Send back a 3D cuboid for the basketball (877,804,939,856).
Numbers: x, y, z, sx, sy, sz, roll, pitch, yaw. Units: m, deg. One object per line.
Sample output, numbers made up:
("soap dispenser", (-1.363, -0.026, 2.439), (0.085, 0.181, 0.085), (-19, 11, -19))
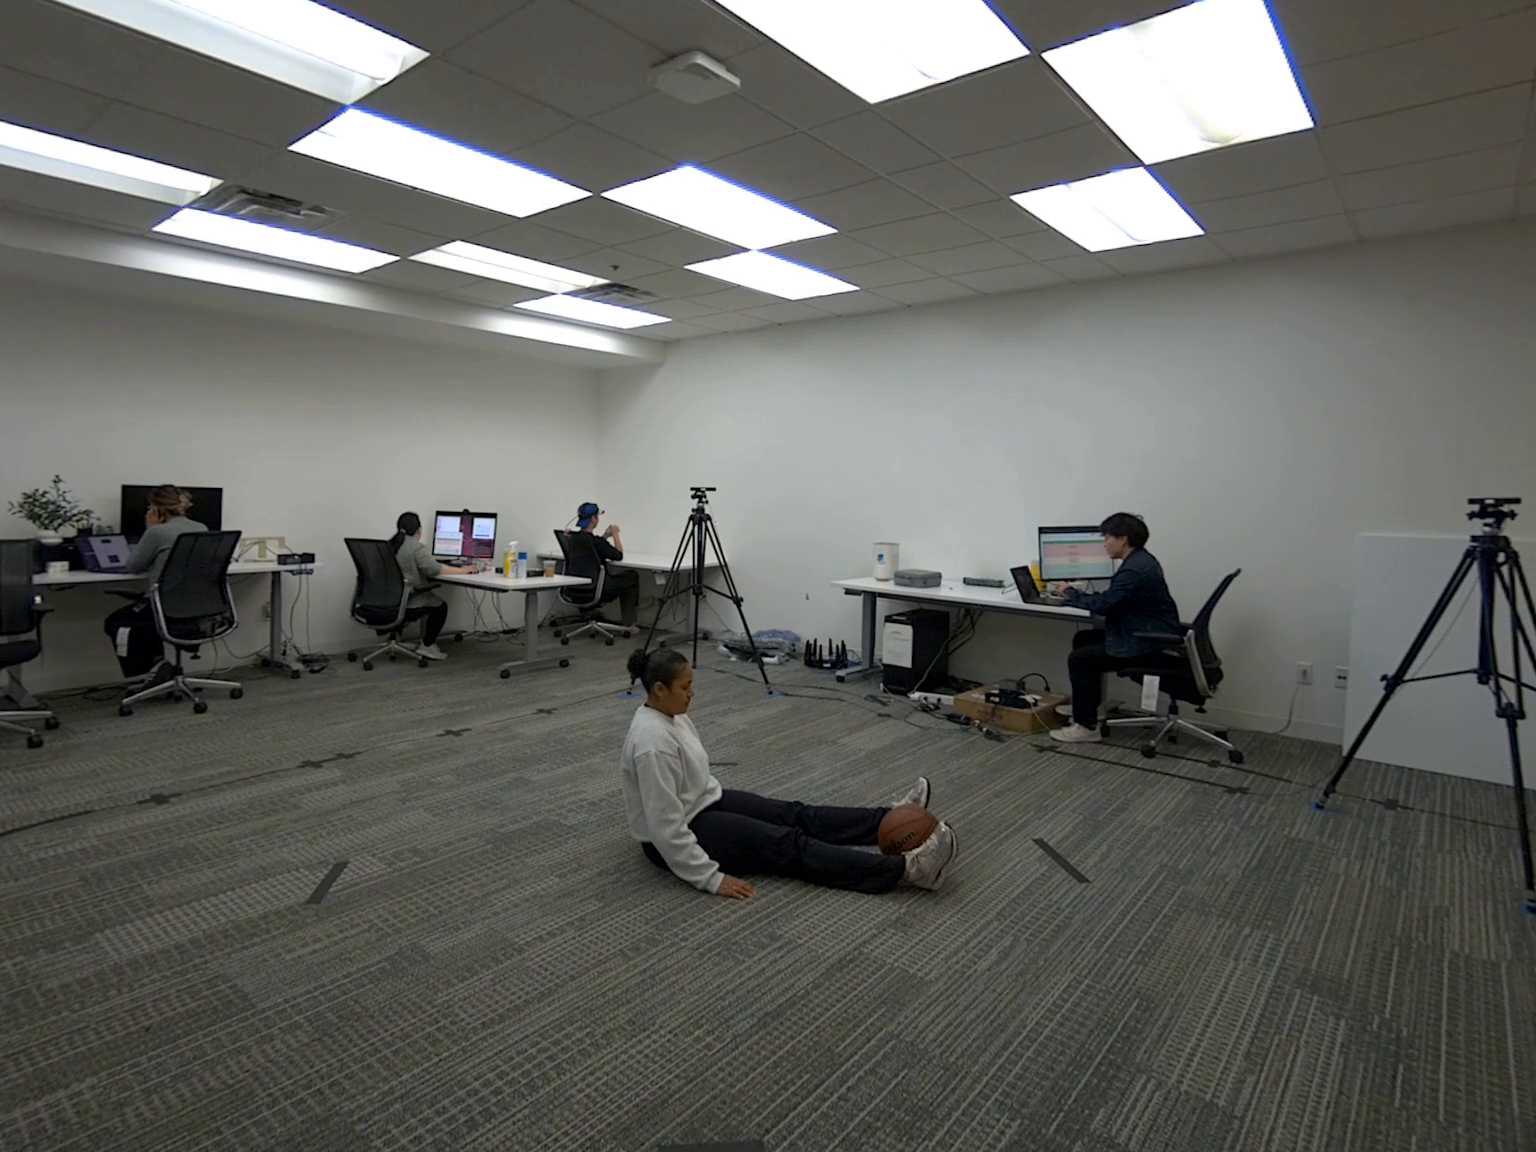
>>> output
("basketball", (0.520, 0.968, 3.128), (0.235, 0.235, 0.237), (1, 4, -2))
